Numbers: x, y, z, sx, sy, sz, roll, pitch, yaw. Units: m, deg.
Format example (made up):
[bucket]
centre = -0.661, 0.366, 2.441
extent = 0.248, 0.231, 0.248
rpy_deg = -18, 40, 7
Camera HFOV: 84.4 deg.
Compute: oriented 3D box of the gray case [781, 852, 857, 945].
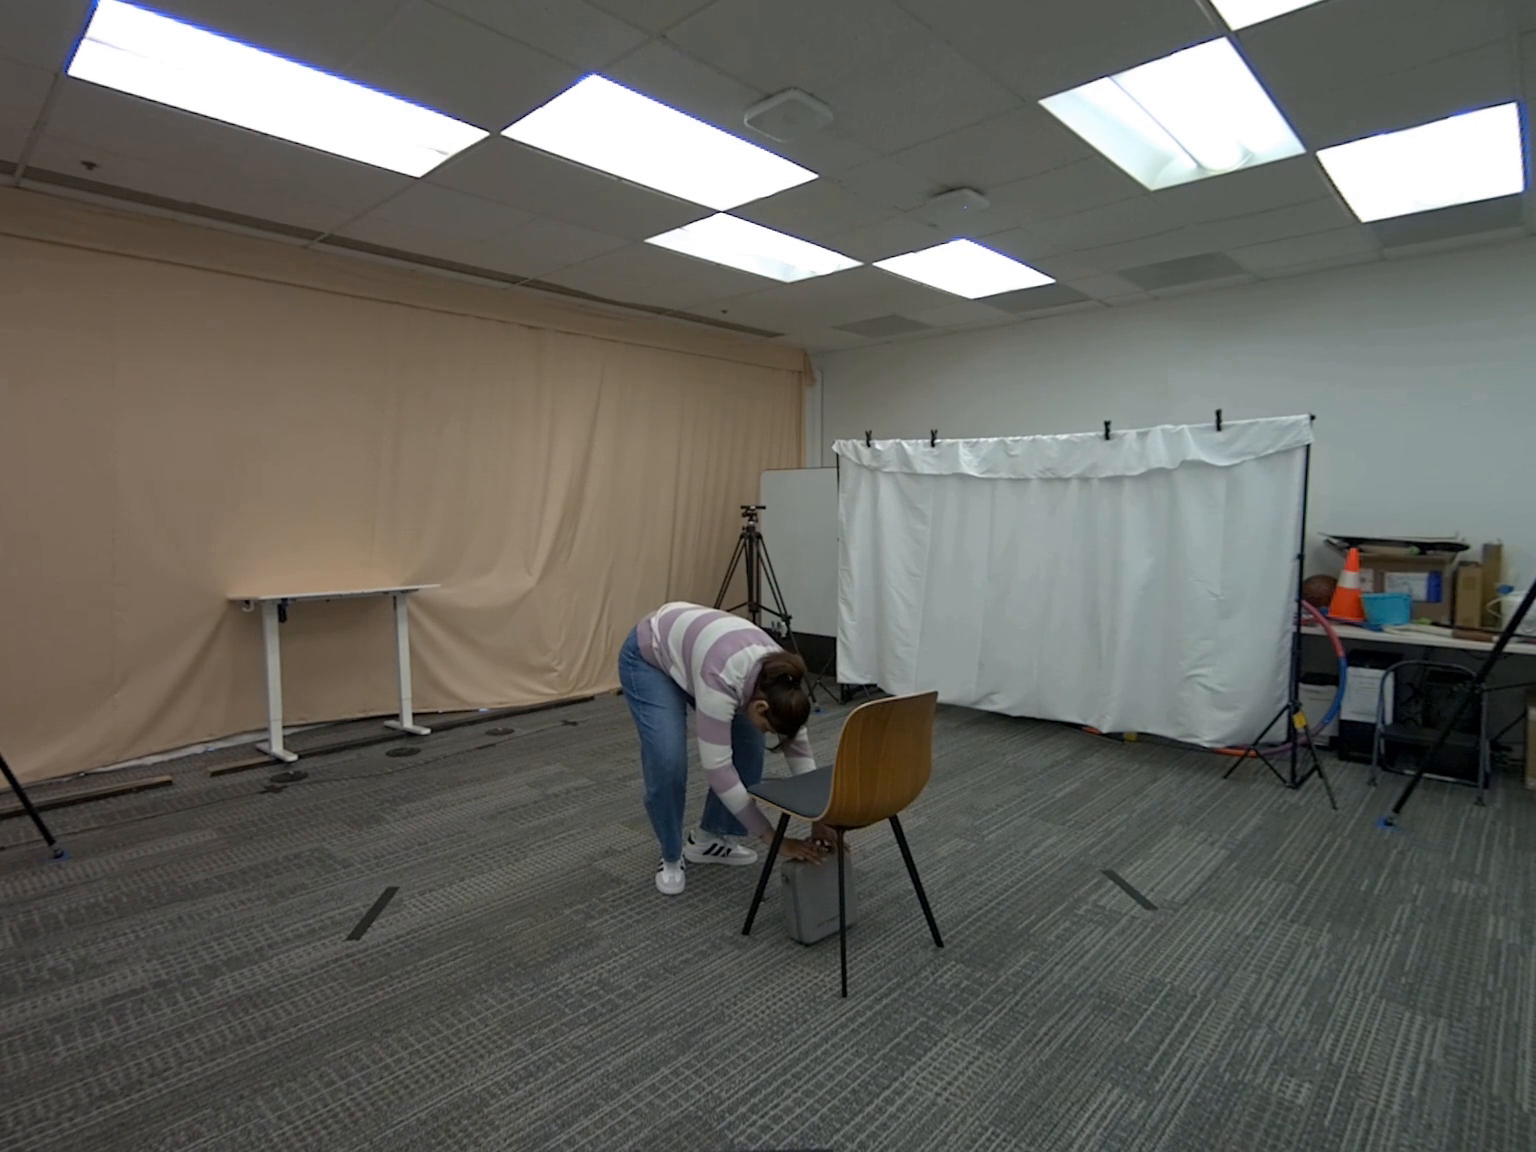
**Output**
[gray case]
centre = 0.168, 1.032, 2.751
extent = 0.249, 0.262, 0.107
rpy_deg = -1, -7, -41
